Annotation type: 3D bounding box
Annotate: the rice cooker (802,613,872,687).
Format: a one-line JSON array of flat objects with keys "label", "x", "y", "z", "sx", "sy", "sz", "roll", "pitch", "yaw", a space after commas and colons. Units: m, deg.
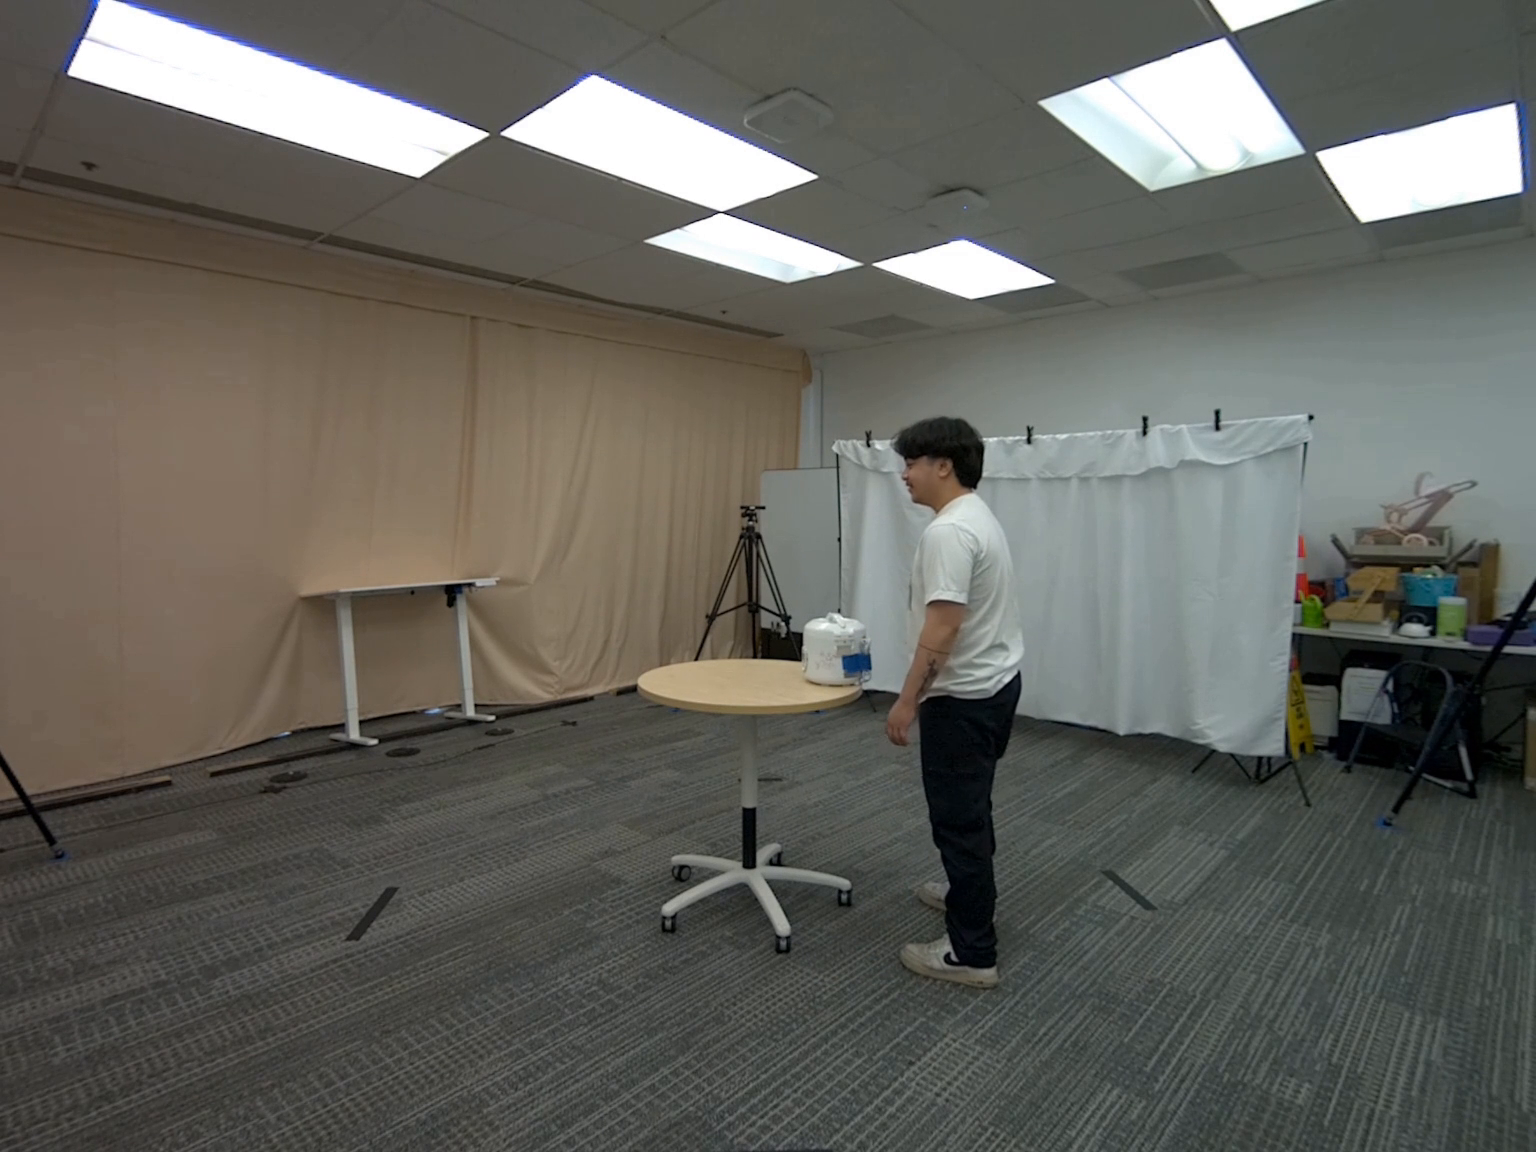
[{"label": "rice cooker", "x": 0.229, "y": 0.245, "z": 2.856, "sx": 0.215, "sy": 0.232, "sz": 0.223, "roll": 0, "pitch": 3, "yaw": -9}]
